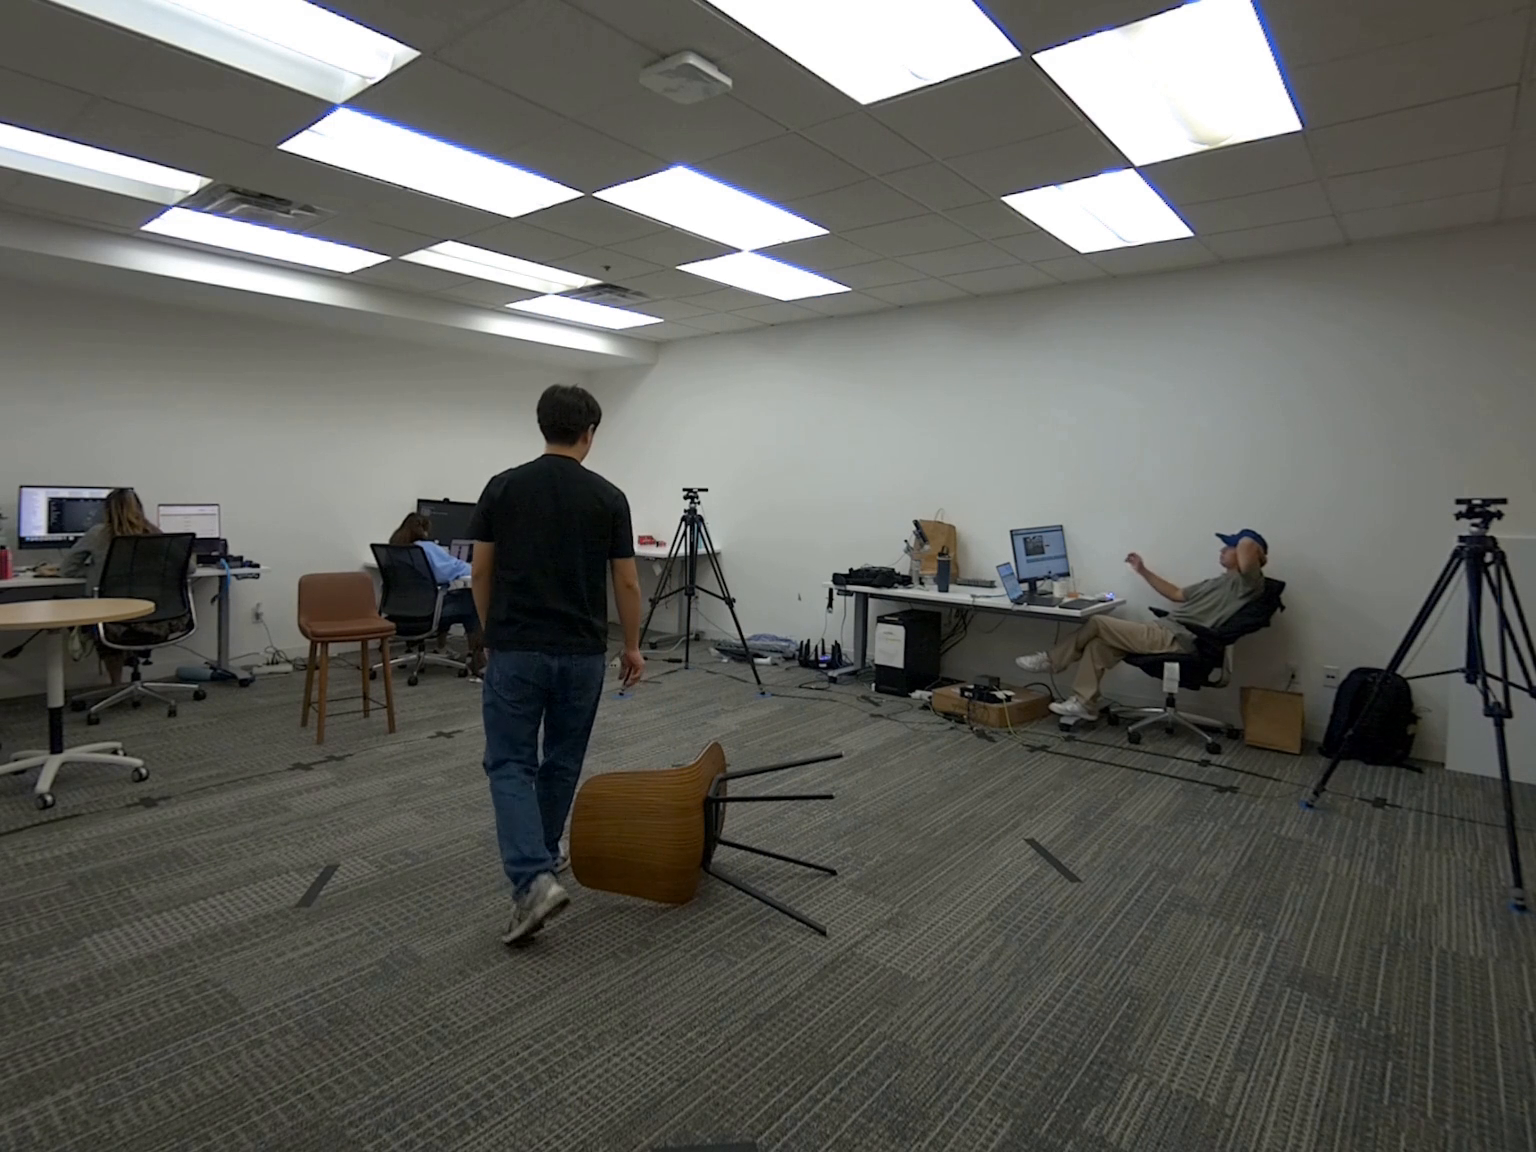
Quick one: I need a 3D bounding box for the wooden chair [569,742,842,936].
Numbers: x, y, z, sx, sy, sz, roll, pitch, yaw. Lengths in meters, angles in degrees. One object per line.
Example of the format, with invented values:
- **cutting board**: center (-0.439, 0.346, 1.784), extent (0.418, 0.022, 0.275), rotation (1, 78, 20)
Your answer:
- **wooden chair**: center (-0.204, 0.852, 2.950), extent (0.885, 0.476, 0.521), rotation (2, 5, 7)
